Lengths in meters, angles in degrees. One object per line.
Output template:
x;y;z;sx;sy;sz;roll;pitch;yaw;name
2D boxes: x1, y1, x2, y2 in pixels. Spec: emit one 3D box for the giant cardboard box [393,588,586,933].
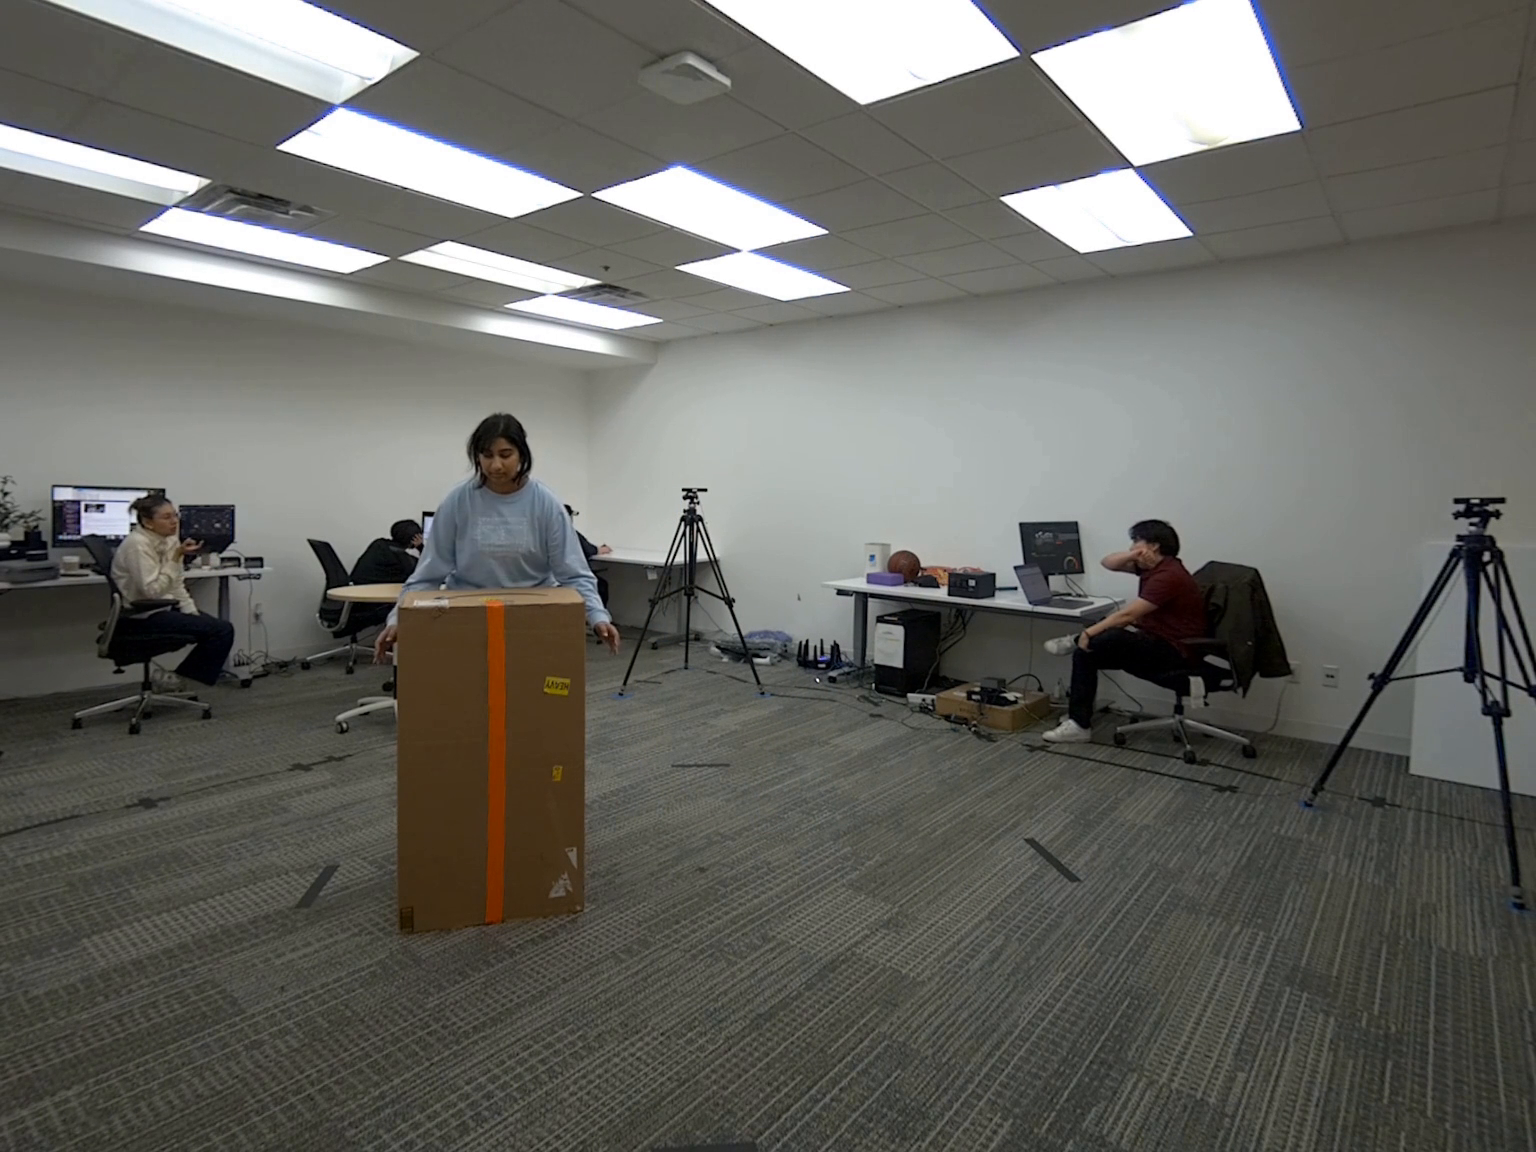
-0.942;0.574;2.869;0.567;1.023;0.435;-1;3;-18;giant cardboard box
